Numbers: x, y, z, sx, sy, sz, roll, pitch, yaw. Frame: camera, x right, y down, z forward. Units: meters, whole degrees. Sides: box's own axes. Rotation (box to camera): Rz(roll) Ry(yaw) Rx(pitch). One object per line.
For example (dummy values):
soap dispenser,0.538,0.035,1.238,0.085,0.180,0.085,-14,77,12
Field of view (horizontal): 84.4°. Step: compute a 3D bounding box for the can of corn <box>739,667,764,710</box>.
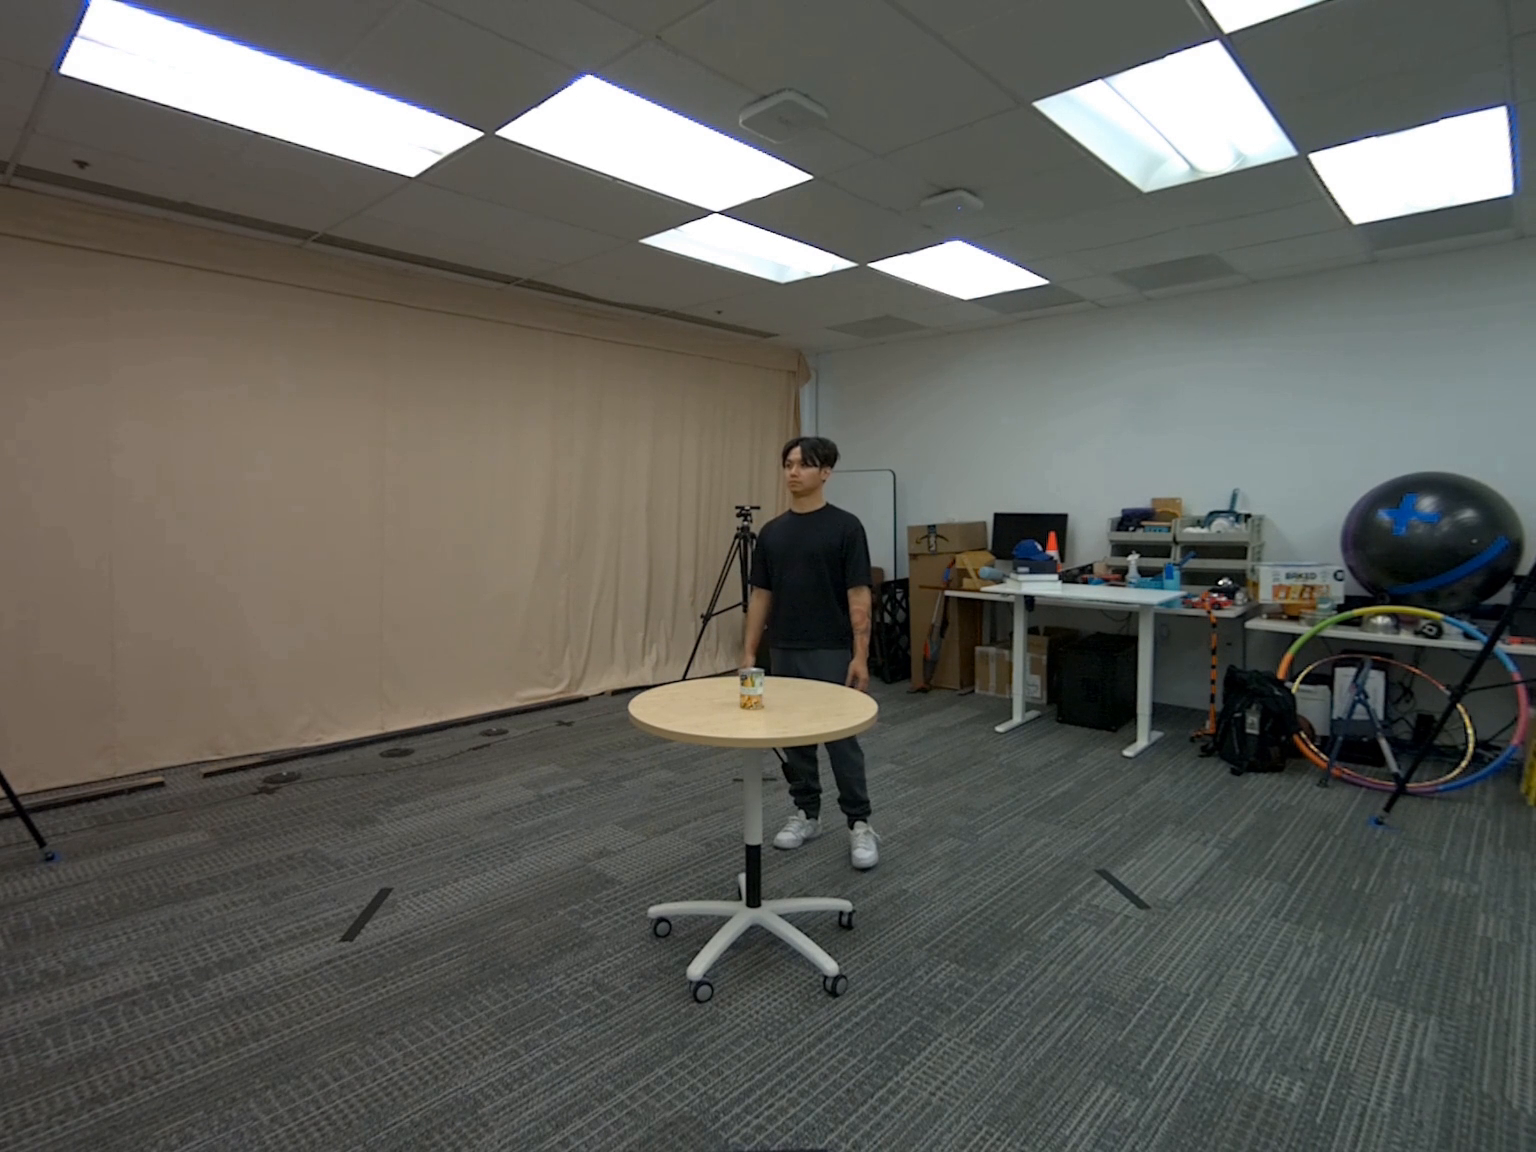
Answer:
can of corn,-0.048,0.343,2.552,0.074,0.111,0.074,-3,5,-2
